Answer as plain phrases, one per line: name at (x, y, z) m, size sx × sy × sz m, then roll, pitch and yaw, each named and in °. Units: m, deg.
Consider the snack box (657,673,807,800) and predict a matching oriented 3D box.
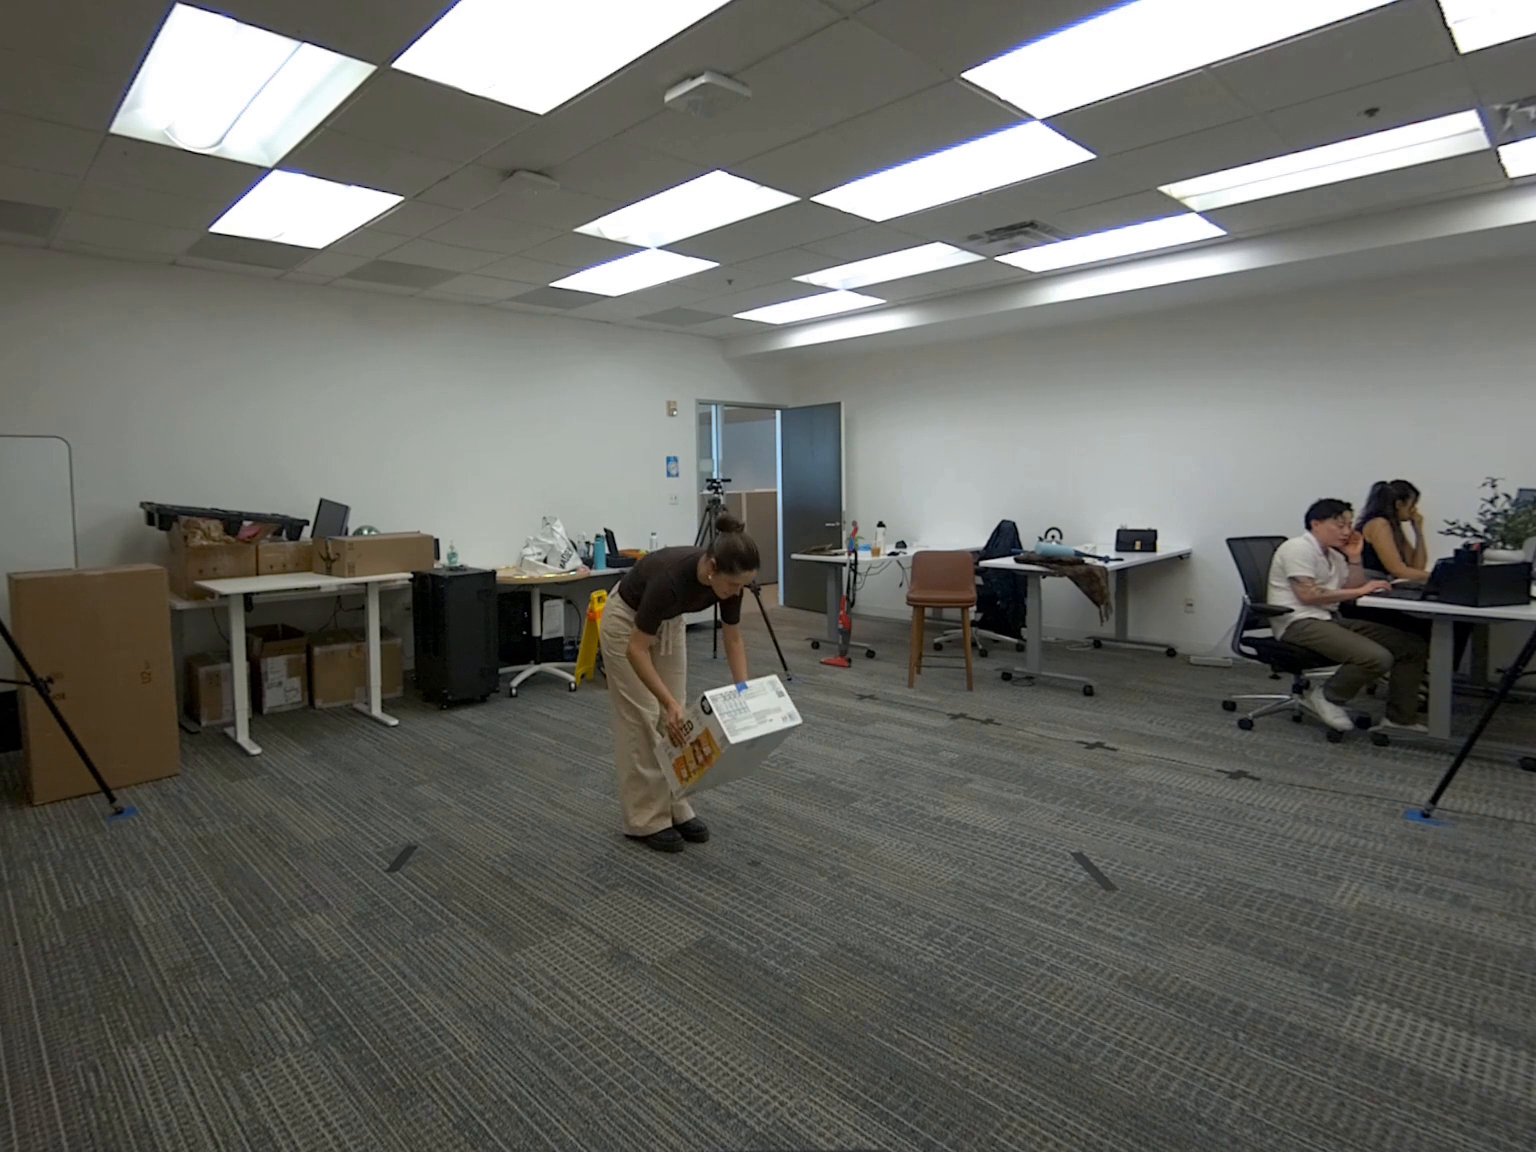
snack box at (-0.142, 0.571, 3.041) m, size 0.332 × 0.212 × 0.403 m, roll -8°, pitch -33°, yaw -42°
